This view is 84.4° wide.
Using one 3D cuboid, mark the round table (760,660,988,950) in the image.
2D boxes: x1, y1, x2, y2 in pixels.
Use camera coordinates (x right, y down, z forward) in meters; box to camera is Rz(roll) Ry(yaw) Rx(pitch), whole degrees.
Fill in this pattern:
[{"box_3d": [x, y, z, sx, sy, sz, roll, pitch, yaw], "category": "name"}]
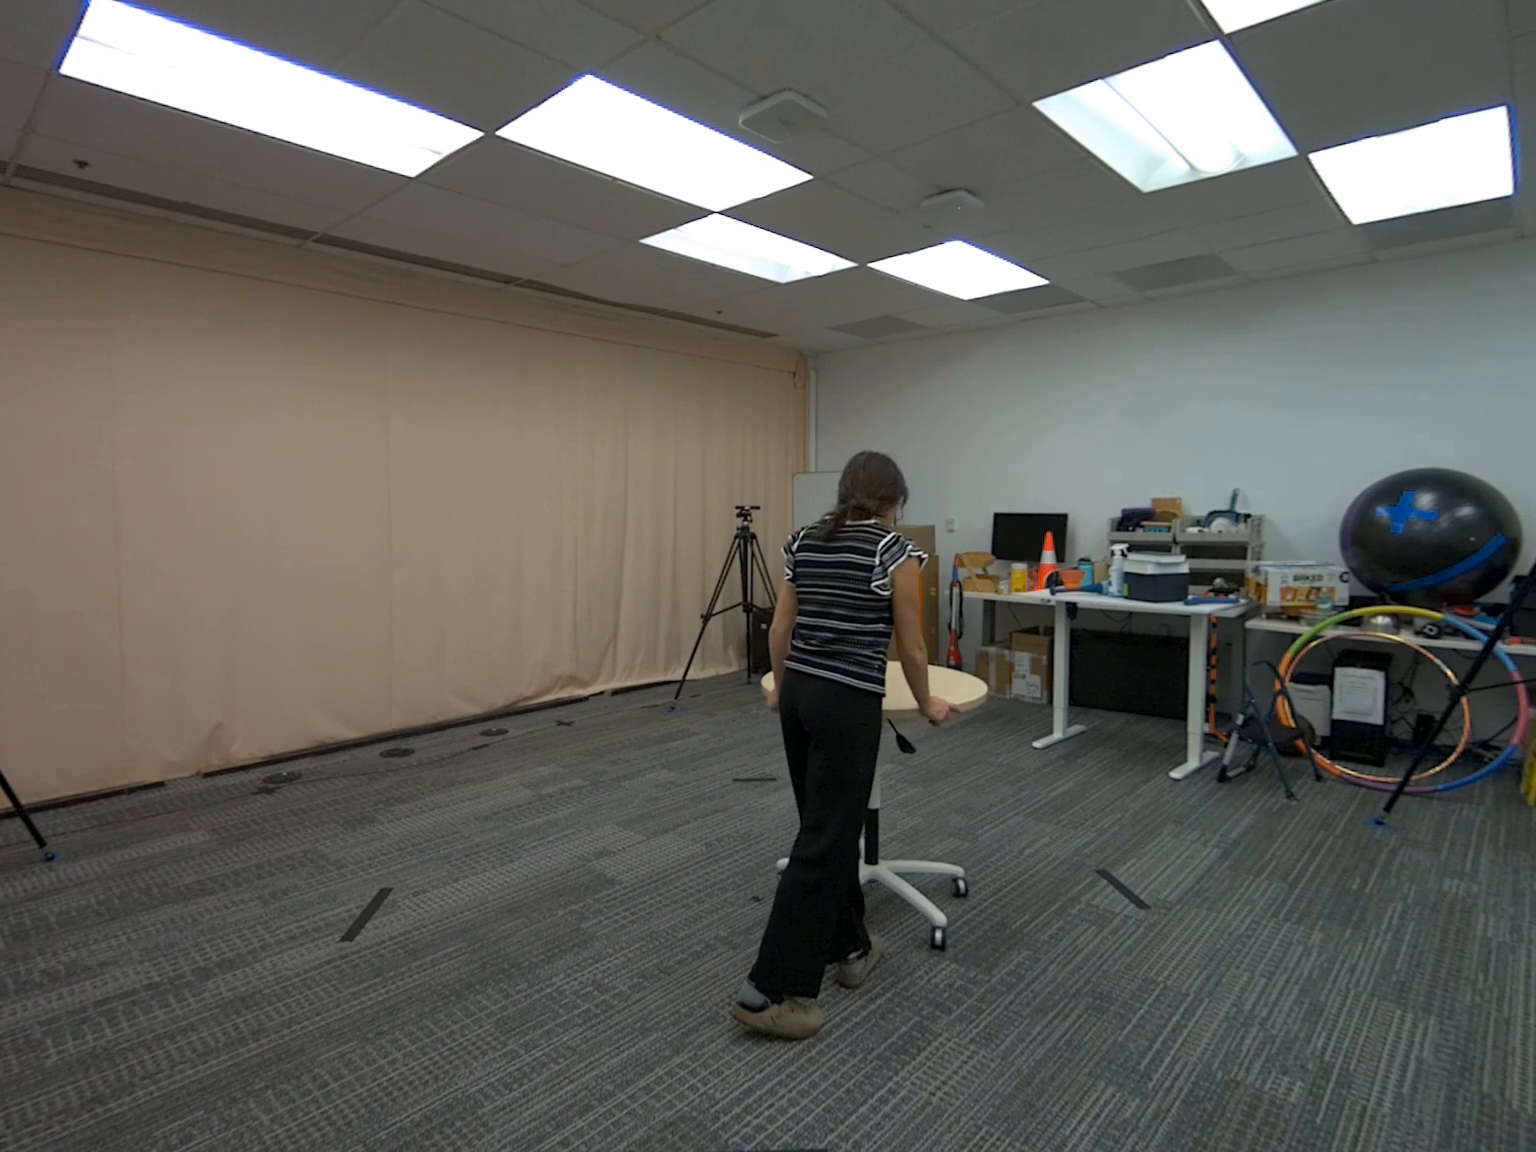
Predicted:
[{"box_3d": [0.367, 0.759, 2.938, 0.763, 0.792, 0.767, 0, 4, -2], "category": "round table"}]
